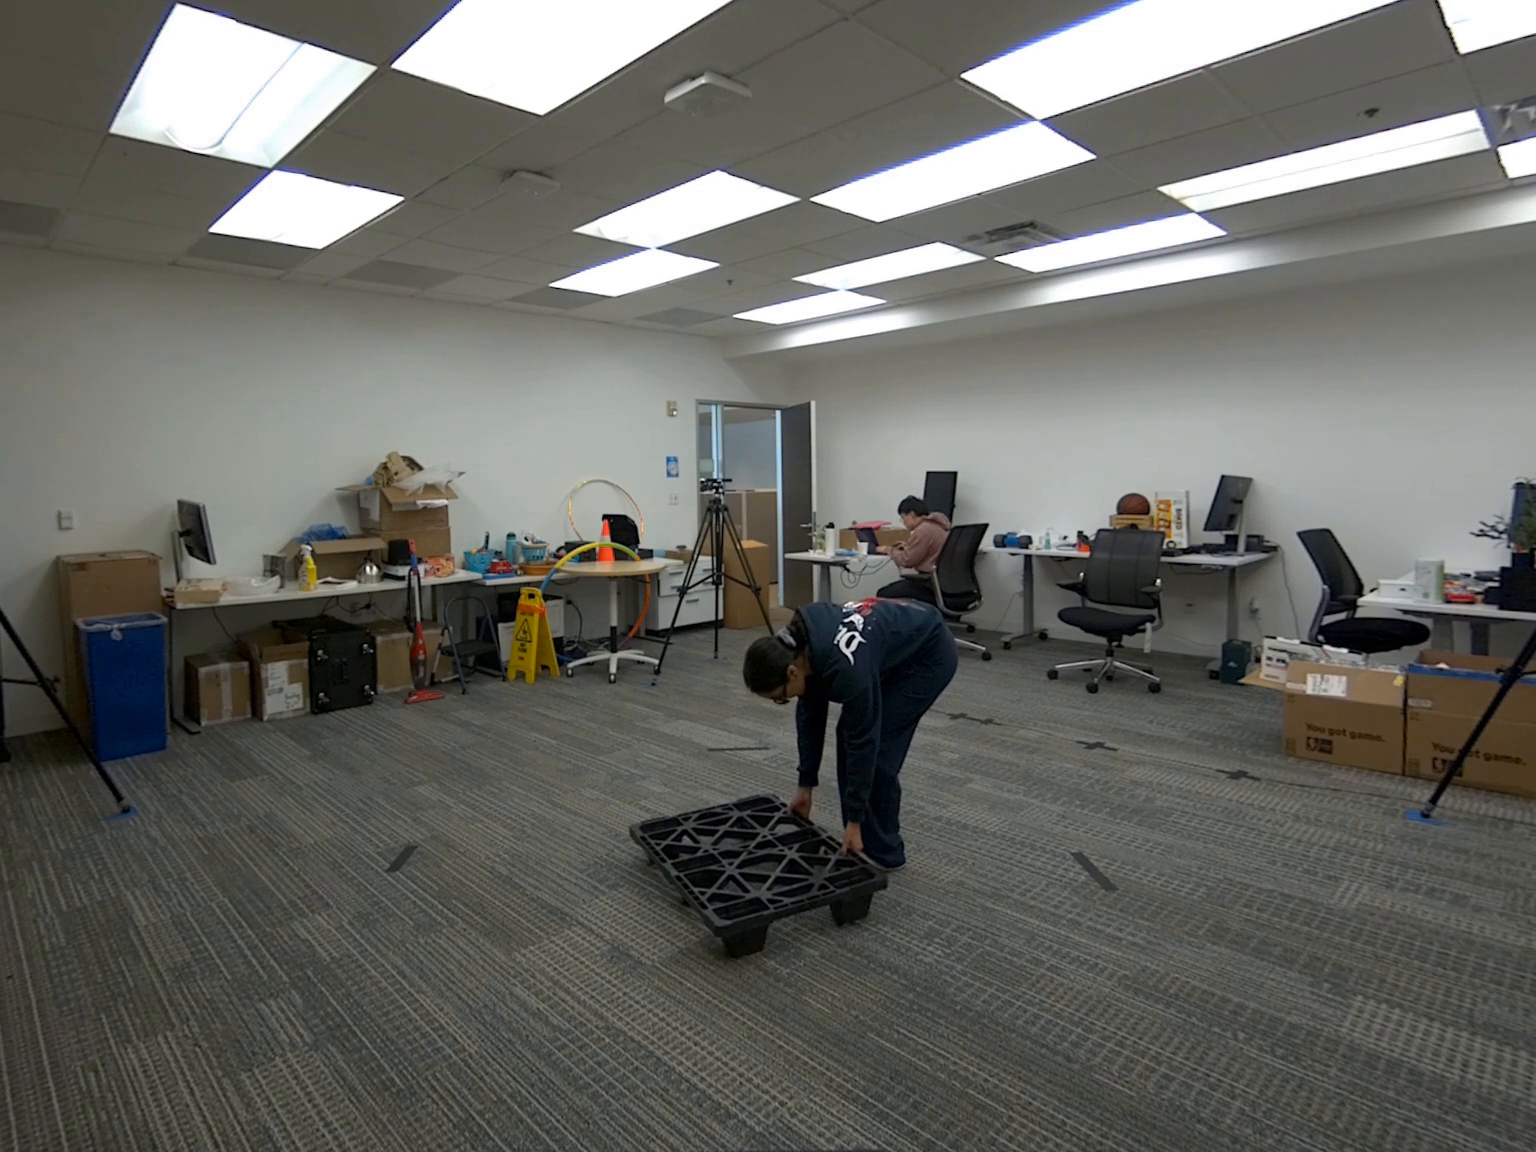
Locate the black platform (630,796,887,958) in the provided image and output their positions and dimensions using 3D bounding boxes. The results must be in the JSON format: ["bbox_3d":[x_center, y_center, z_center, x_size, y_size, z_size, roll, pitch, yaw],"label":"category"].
[{"bbox_3d":[-0.065,0.995,2.908,0.593,0.142,0.826,-7,8,-26],"label":"black platform"}]
